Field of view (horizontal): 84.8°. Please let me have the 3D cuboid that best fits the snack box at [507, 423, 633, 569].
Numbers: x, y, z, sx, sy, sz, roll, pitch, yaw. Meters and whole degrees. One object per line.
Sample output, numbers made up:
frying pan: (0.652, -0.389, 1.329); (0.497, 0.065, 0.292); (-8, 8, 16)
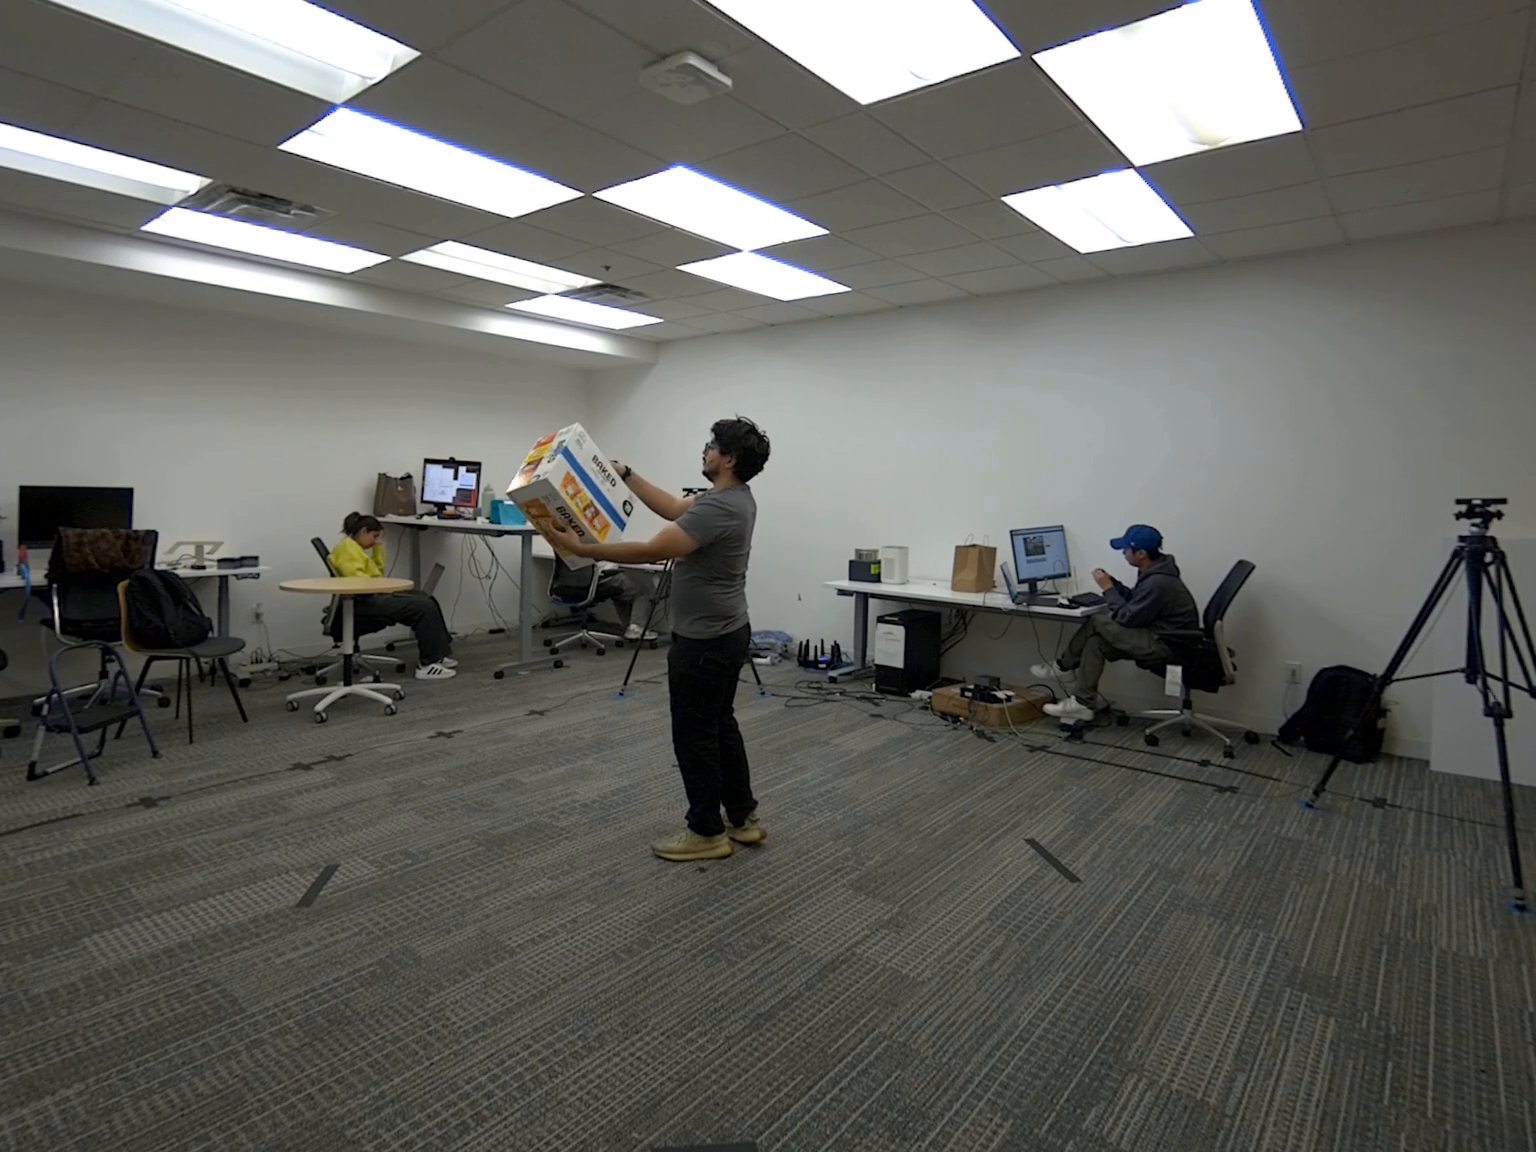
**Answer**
snack box: (-0.740, -0.300, 3.202); (0.209, 0.390, 0.346); (-16, 36, 27)
